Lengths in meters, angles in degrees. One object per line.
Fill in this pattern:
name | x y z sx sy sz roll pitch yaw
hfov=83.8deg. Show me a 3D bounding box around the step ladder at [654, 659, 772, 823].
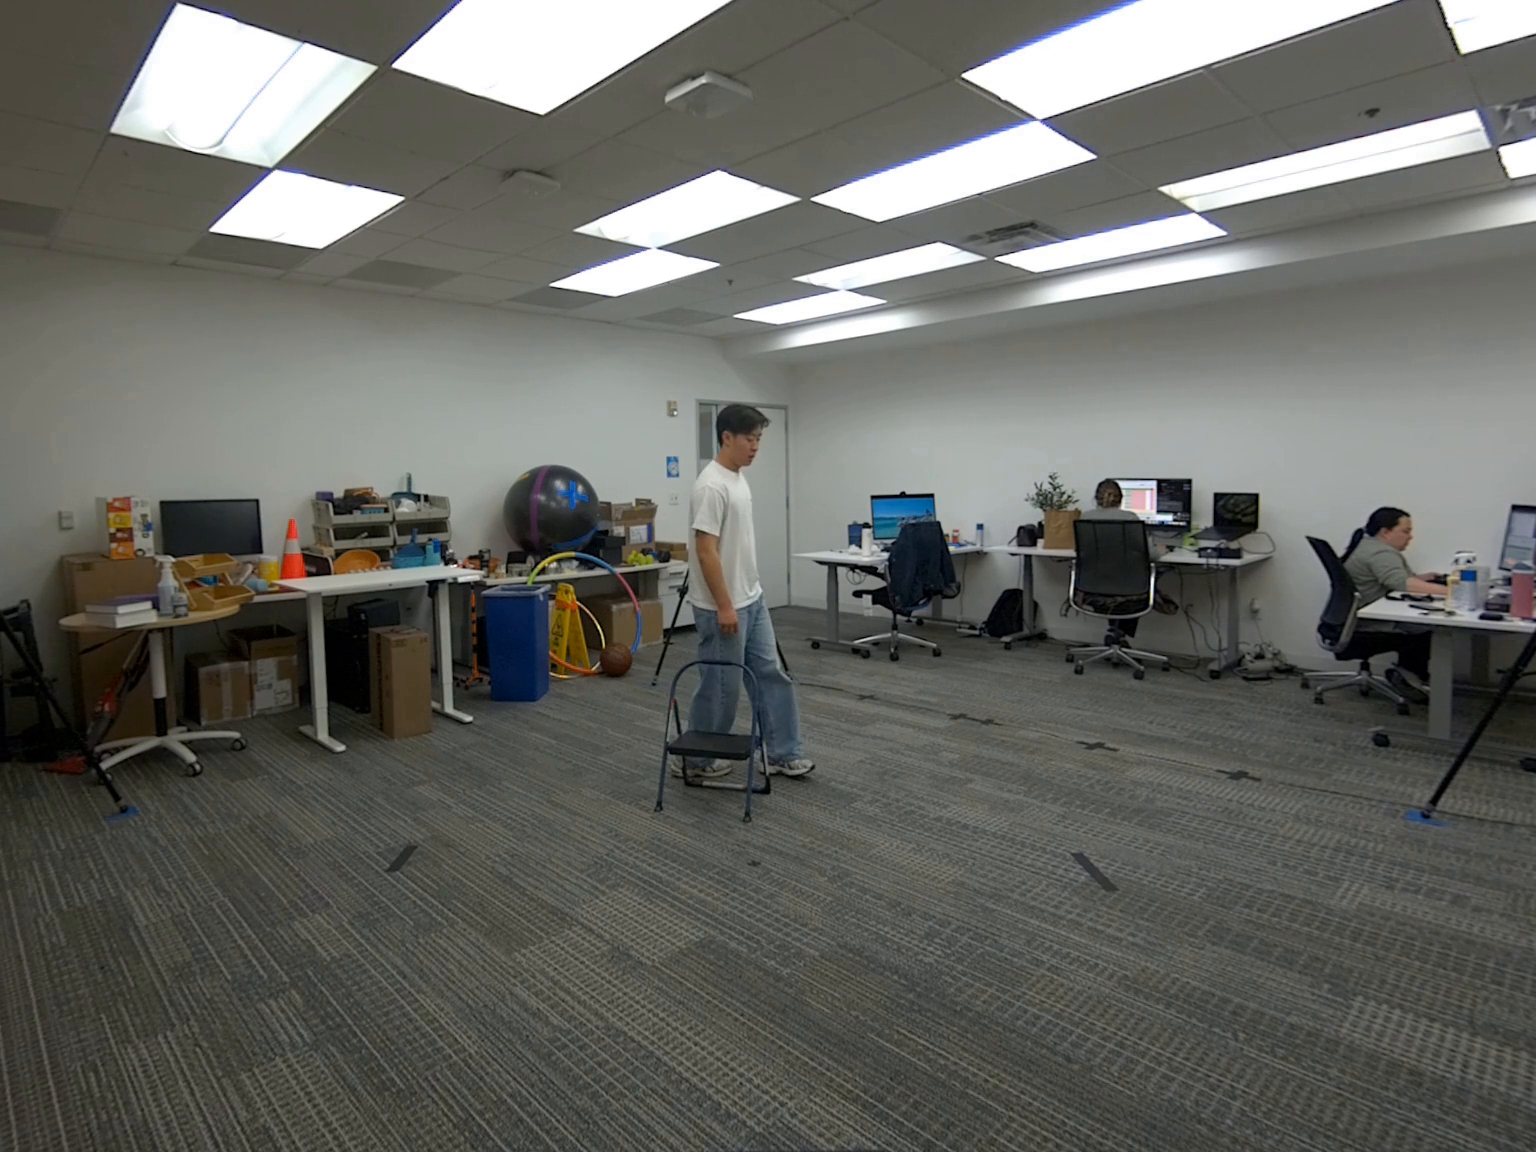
step ladder | -0.239 0.683 3.695 0.438 0.604 0.344 0 4 19
